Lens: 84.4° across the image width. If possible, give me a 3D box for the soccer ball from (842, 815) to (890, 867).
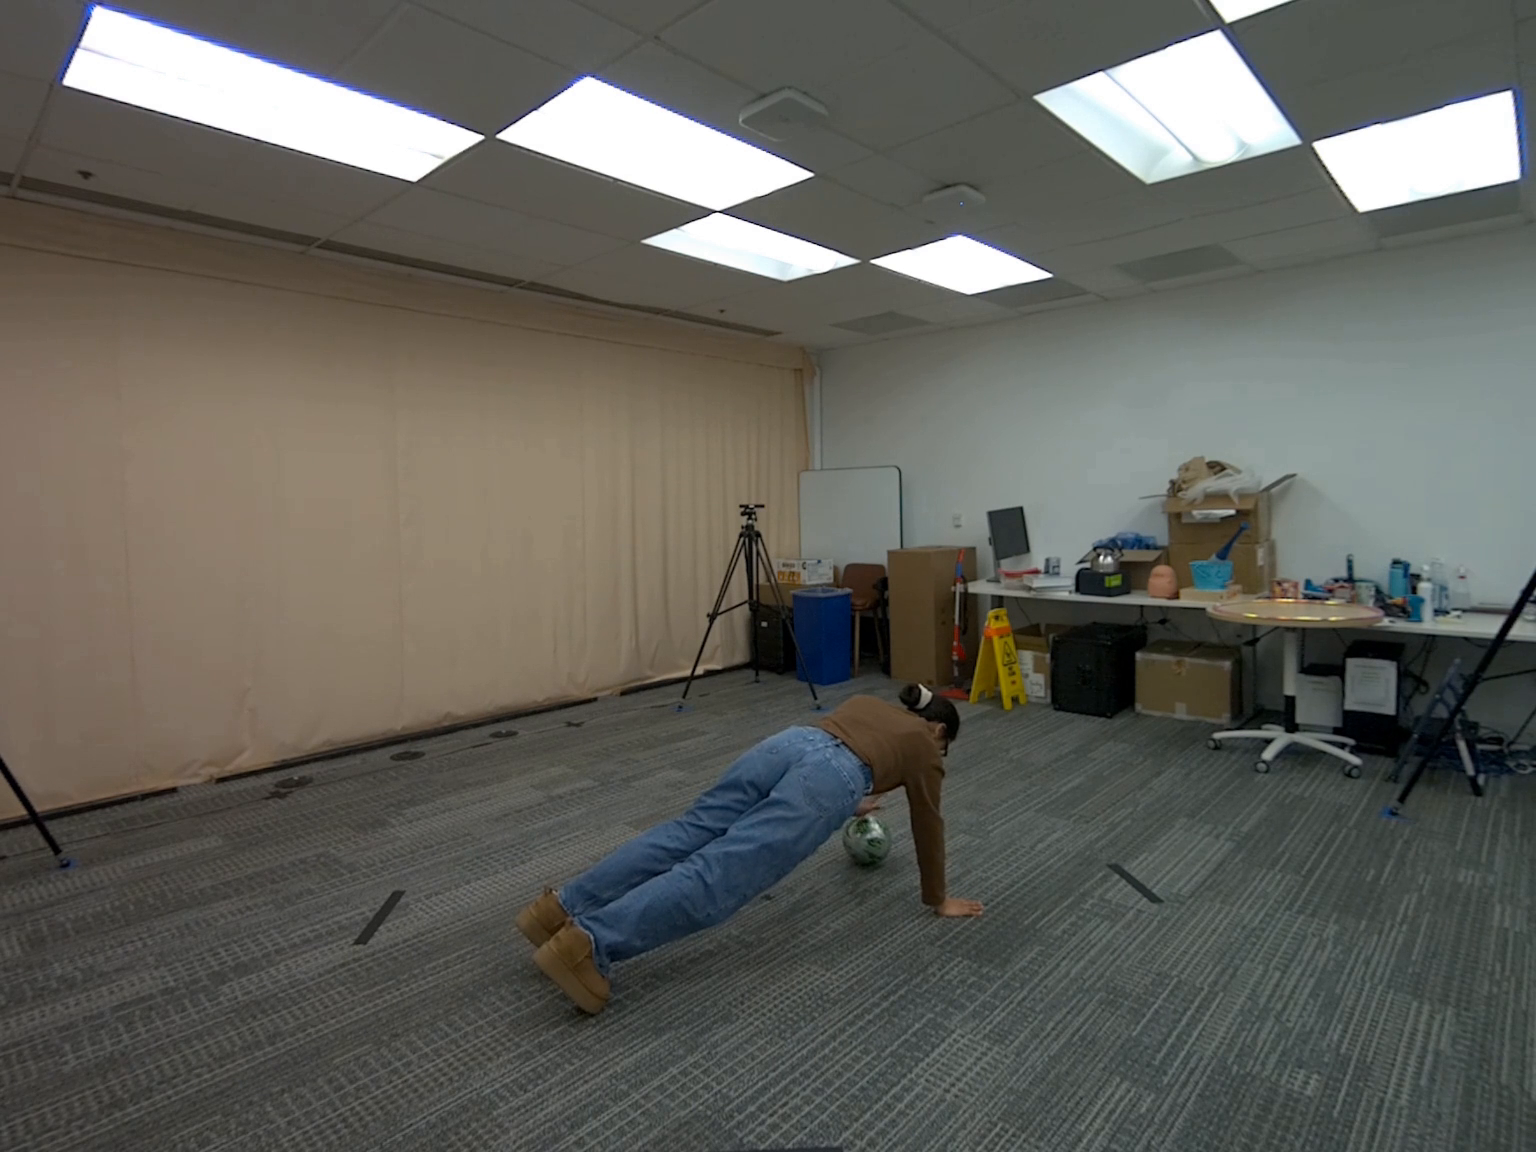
[{"bbox_3d":[0.384,1.017,3.249,0.187,0.187,0.188,-1,4,-2],"label":"soccer ball"}]
